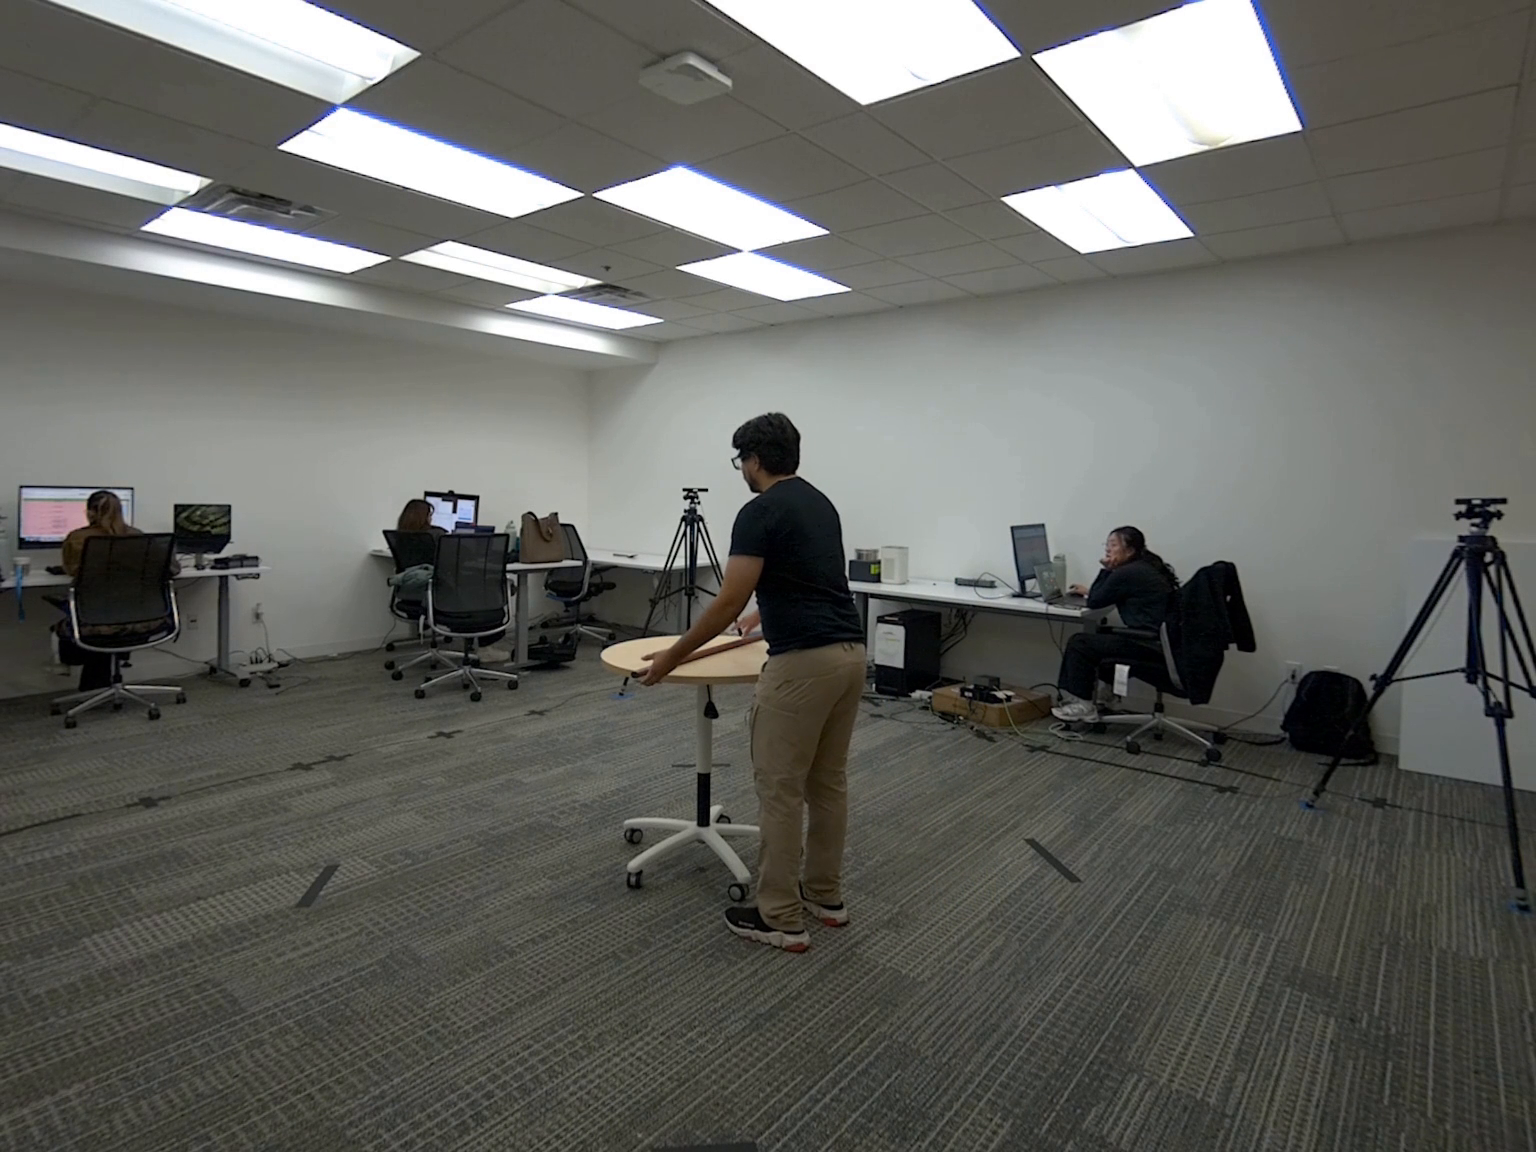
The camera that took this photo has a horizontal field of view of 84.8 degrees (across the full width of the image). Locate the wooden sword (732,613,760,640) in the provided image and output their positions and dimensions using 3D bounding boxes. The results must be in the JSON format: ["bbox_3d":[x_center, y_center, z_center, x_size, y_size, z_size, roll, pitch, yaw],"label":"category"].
[{"bbox_3d":[-0.195,0.257,3.130,0.024,0.051,1.003,-17,-3,23],"label":"wooden sword"}]
